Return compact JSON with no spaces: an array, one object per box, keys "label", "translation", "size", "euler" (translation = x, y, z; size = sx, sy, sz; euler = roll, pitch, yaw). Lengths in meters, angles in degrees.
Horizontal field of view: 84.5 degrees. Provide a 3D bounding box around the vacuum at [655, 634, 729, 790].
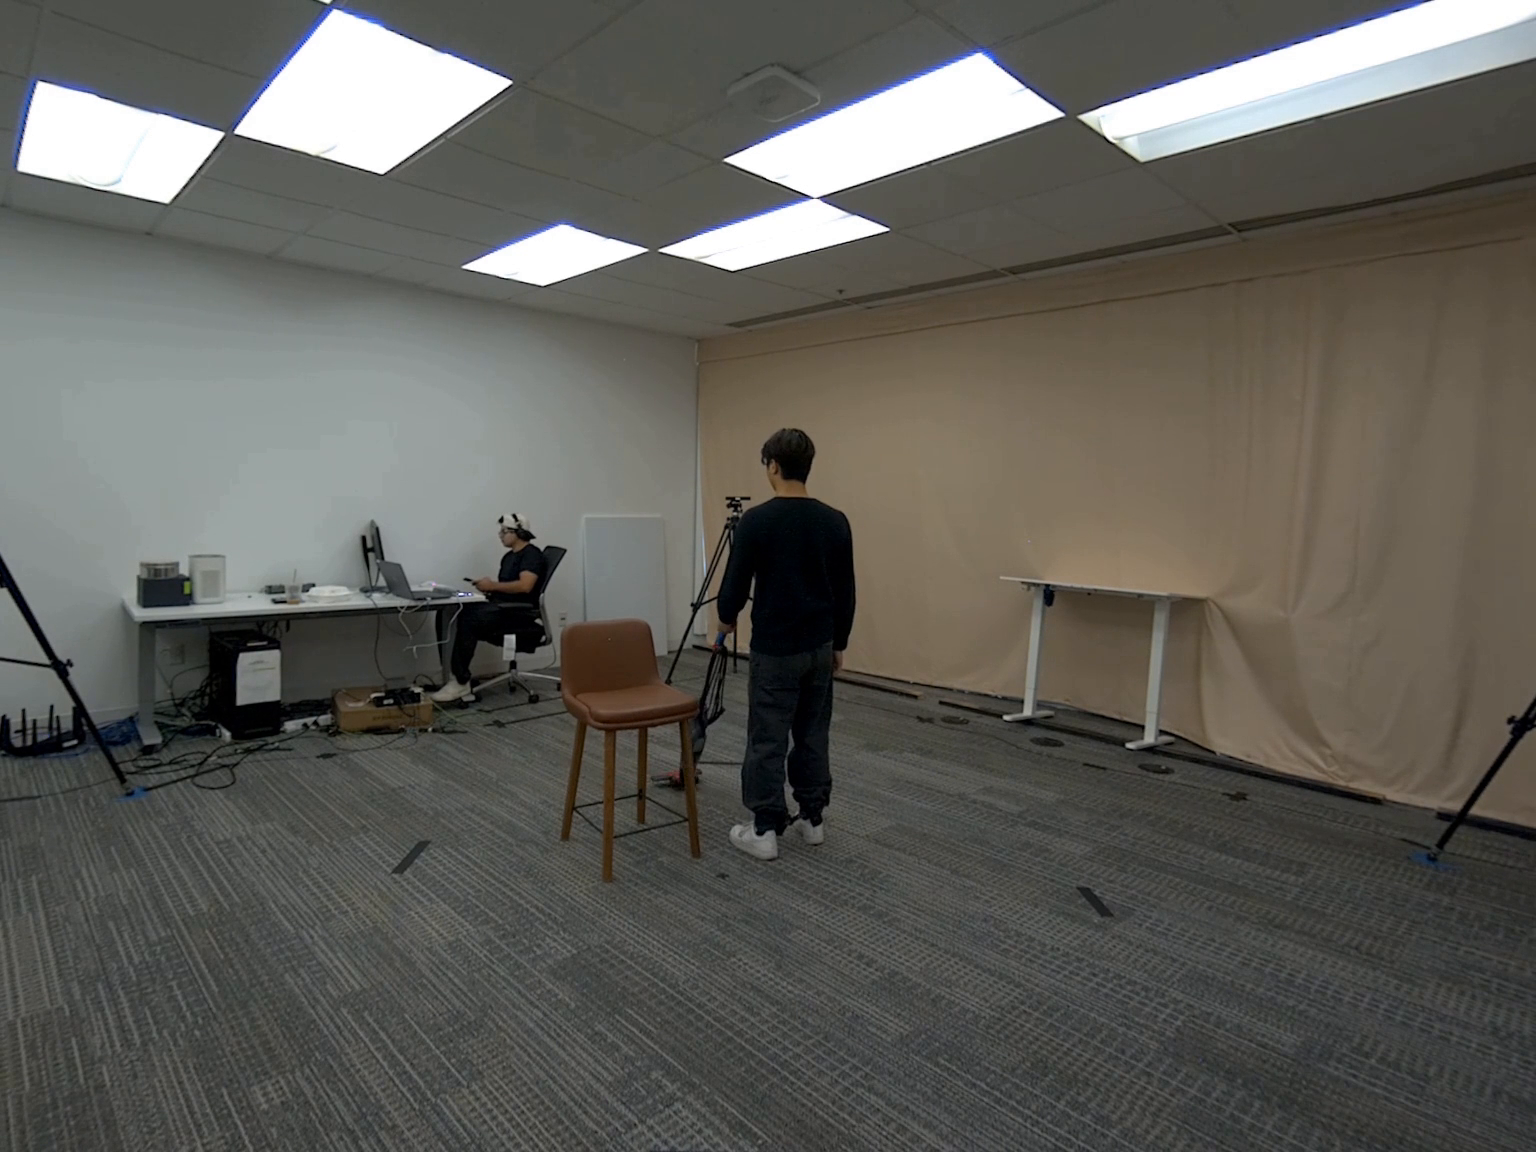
[{"label":"vacuum","translation":[-0.293,0.591,3.794],"size":[0.248,1.036,0.148],"euler":[-2,39,-28]}]
